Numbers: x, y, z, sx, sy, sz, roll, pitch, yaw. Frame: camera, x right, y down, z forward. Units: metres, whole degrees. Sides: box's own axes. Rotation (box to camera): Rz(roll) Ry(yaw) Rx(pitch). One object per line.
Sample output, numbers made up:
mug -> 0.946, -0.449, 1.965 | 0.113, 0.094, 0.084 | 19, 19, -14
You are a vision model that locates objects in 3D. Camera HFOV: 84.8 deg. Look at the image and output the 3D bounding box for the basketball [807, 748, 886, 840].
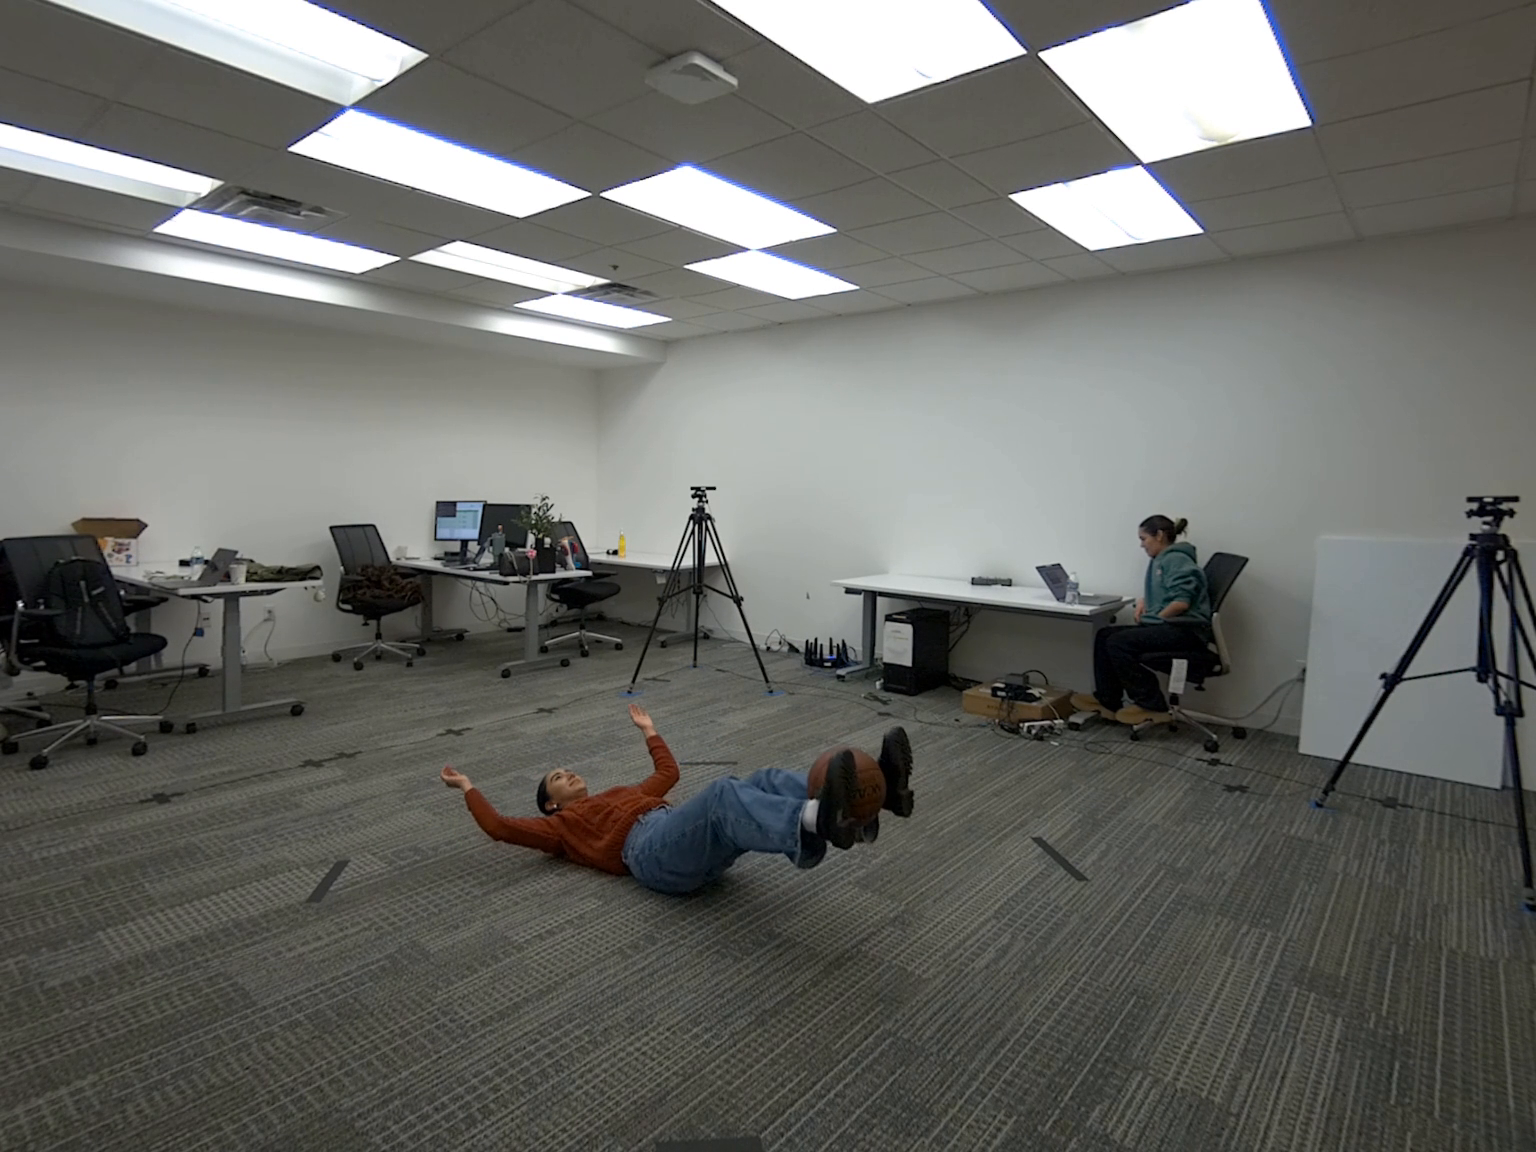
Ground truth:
basketball -> 0.231, 0.634, 2.564 | 0.236, 0.235, 0.237 | -3, 3, -2
